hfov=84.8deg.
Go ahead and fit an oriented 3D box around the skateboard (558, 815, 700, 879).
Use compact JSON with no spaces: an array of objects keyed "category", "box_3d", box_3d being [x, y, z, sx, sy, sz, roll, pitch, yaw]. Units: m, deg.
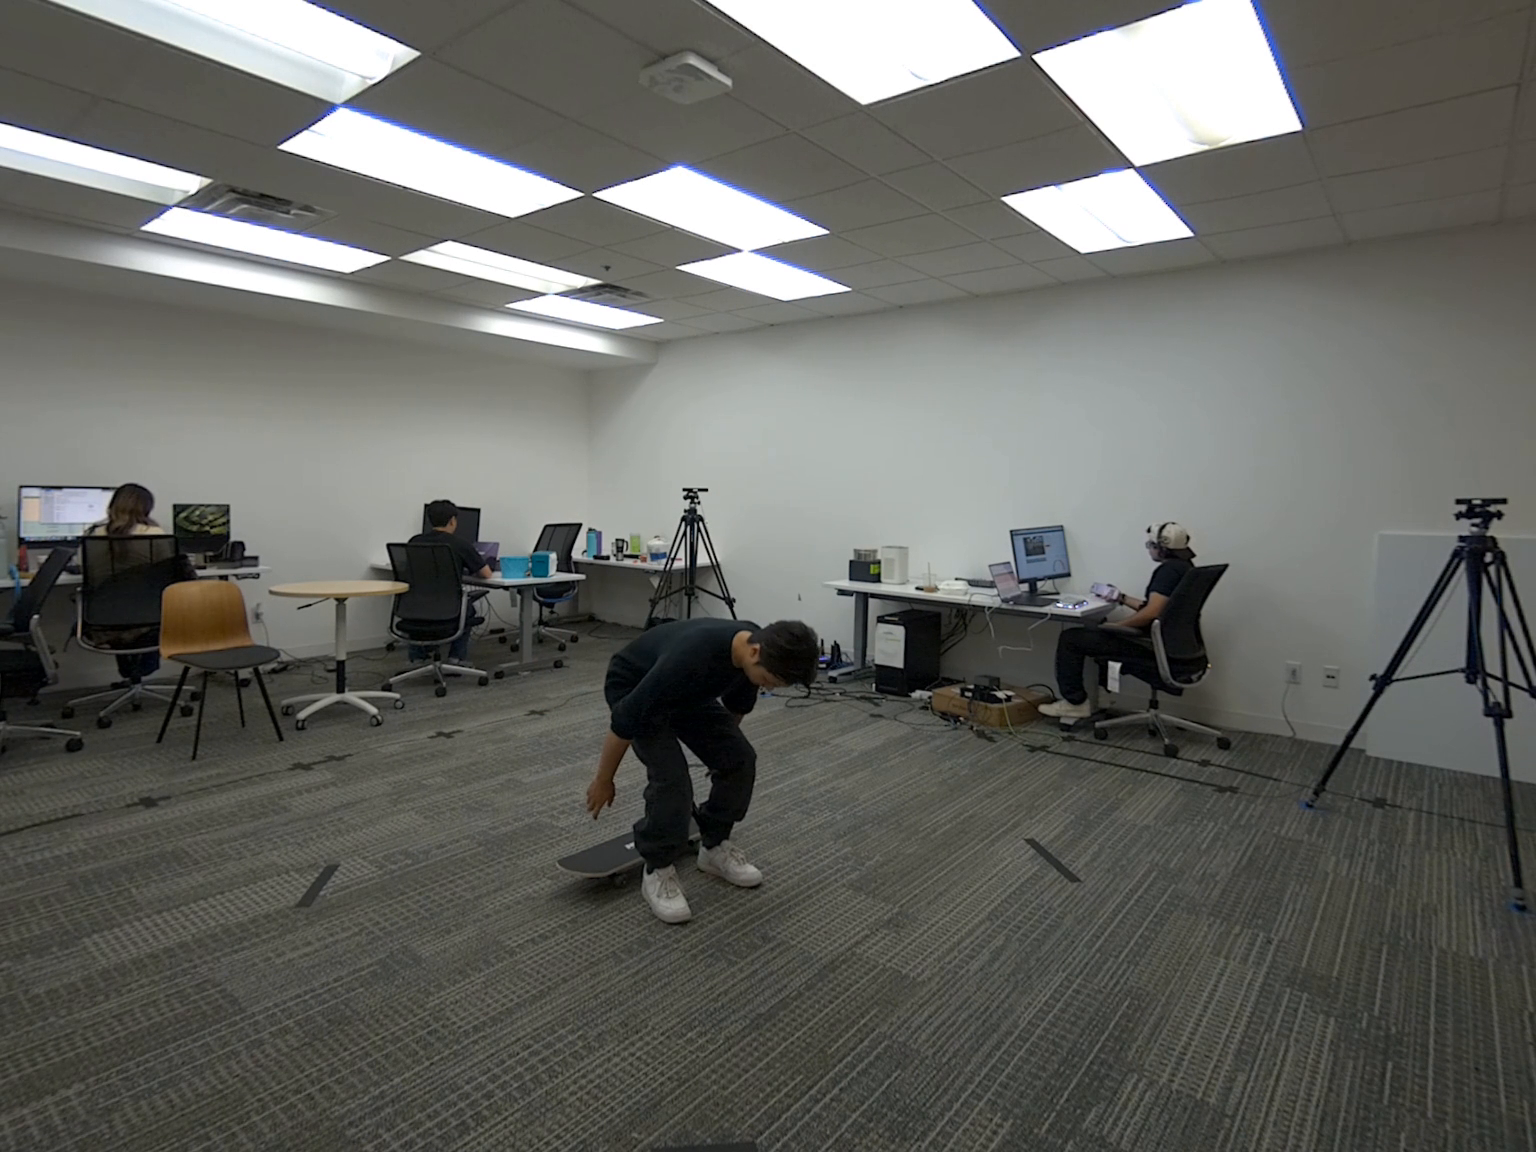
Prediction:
[{"category":"skateboard","box_3d":[-0.454,1.004,3.149,0.200,0.110,0.762,6,7,40]}]
